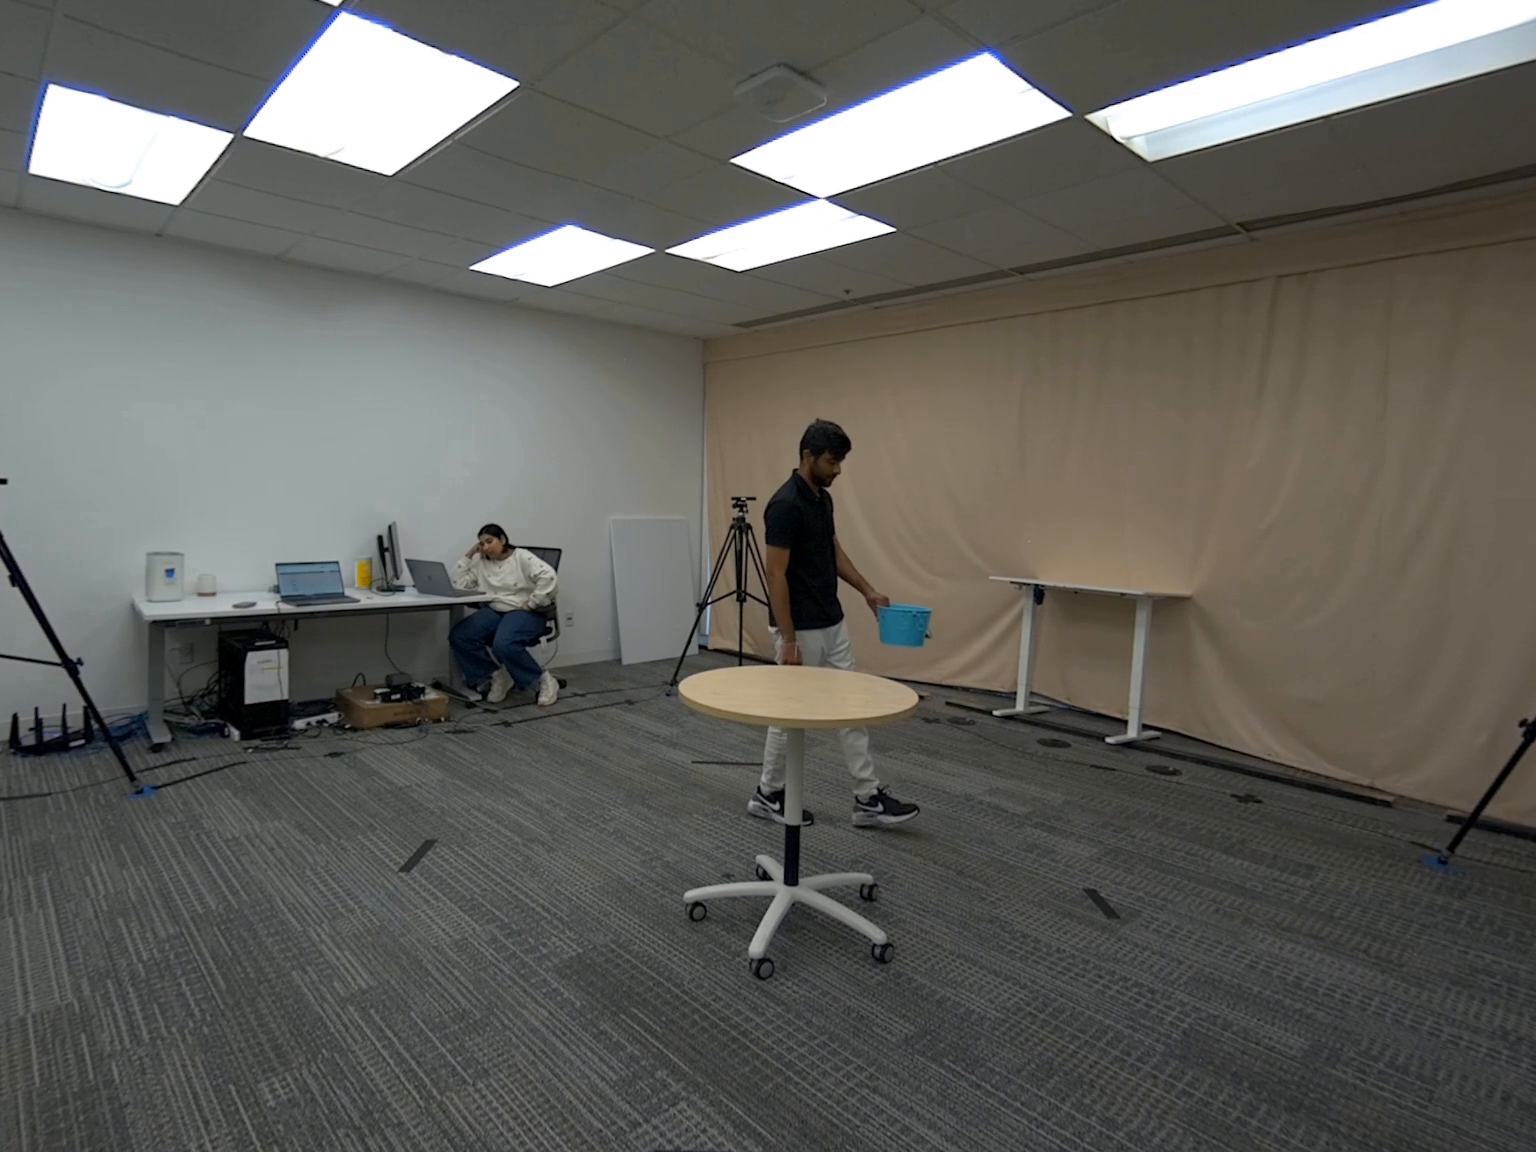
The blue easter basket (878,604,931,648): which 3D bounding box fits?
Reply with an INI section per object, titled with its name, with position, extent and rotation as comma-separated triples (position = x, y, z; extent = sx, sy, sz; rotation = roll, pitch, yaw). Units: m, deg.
[blue easter basket]
position = 0.562, 0.205, 3.524
extent = 0.243, 0.156, 0.244
rotation = 4, 3, -2
